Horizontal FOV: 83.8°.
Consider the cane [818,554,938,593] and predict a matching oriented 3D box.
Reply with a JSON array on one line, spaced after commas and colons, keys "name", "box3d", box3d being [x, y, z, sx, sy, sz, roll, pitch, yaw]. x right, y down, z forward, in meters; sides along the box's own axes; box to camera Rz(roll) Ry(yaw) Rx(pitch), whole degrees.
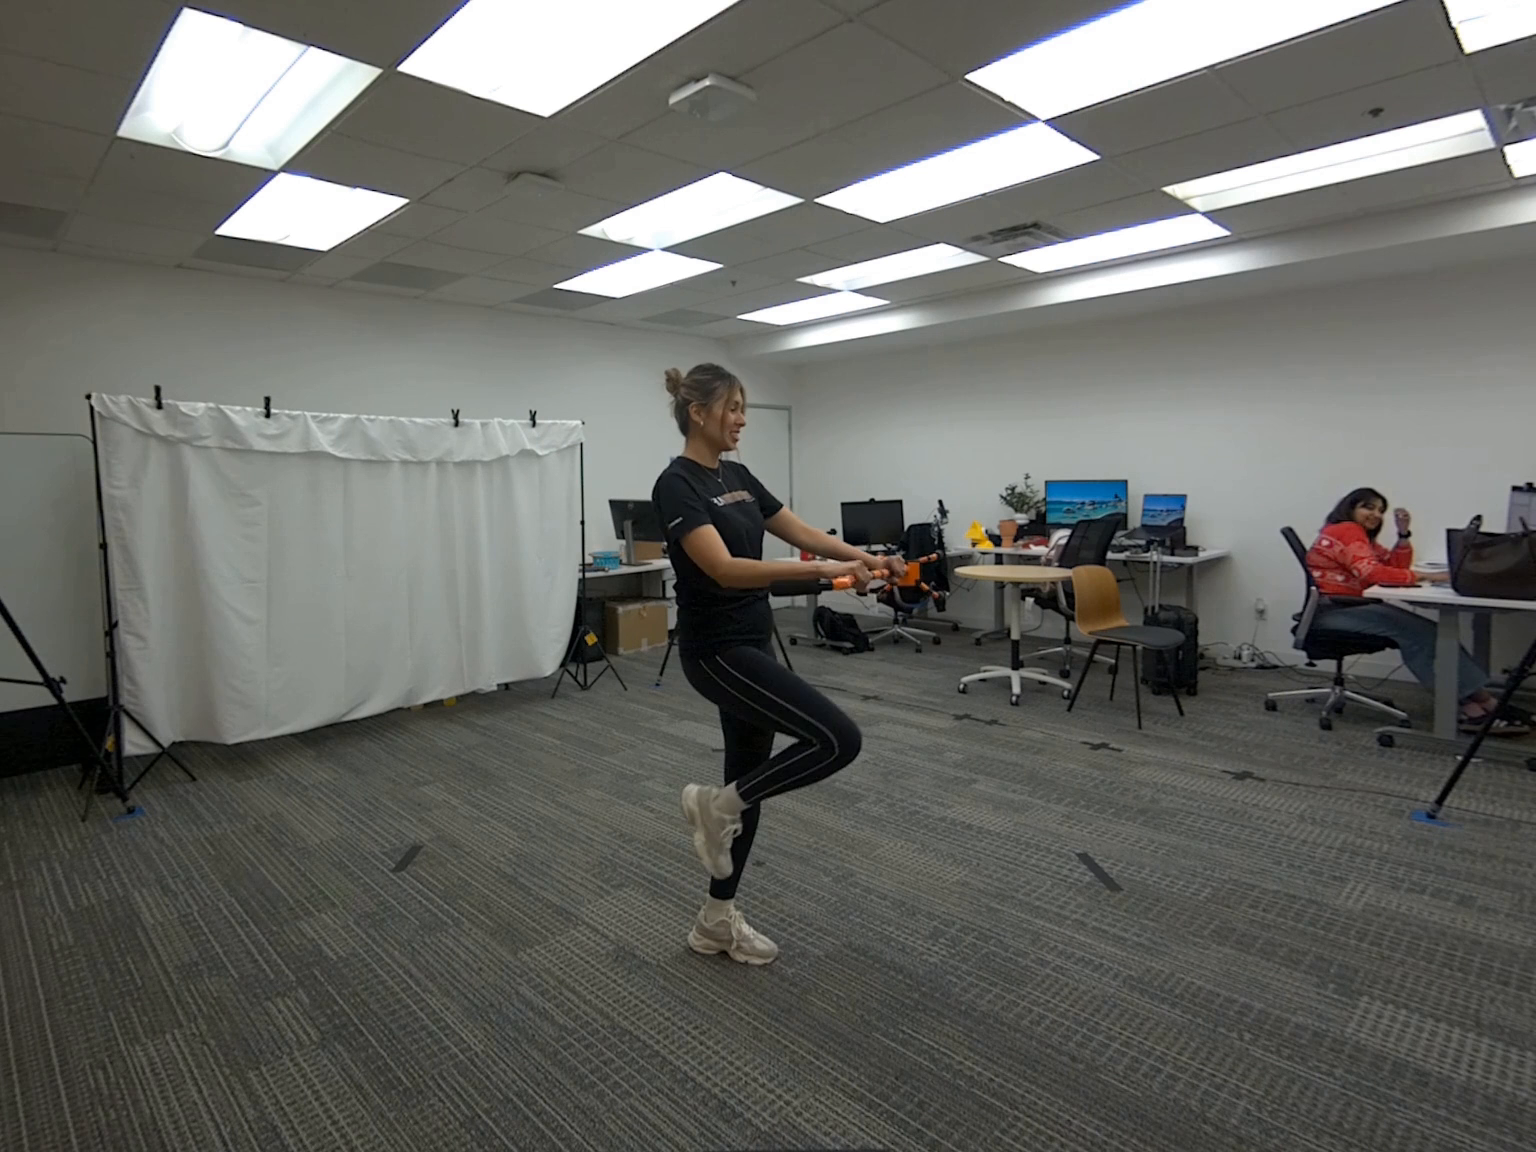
[{"name": "cane", "box3d": [0.276, 0.026, 2.190, 0.211, 0.152, 0.889, -3, 1, 22]}]
